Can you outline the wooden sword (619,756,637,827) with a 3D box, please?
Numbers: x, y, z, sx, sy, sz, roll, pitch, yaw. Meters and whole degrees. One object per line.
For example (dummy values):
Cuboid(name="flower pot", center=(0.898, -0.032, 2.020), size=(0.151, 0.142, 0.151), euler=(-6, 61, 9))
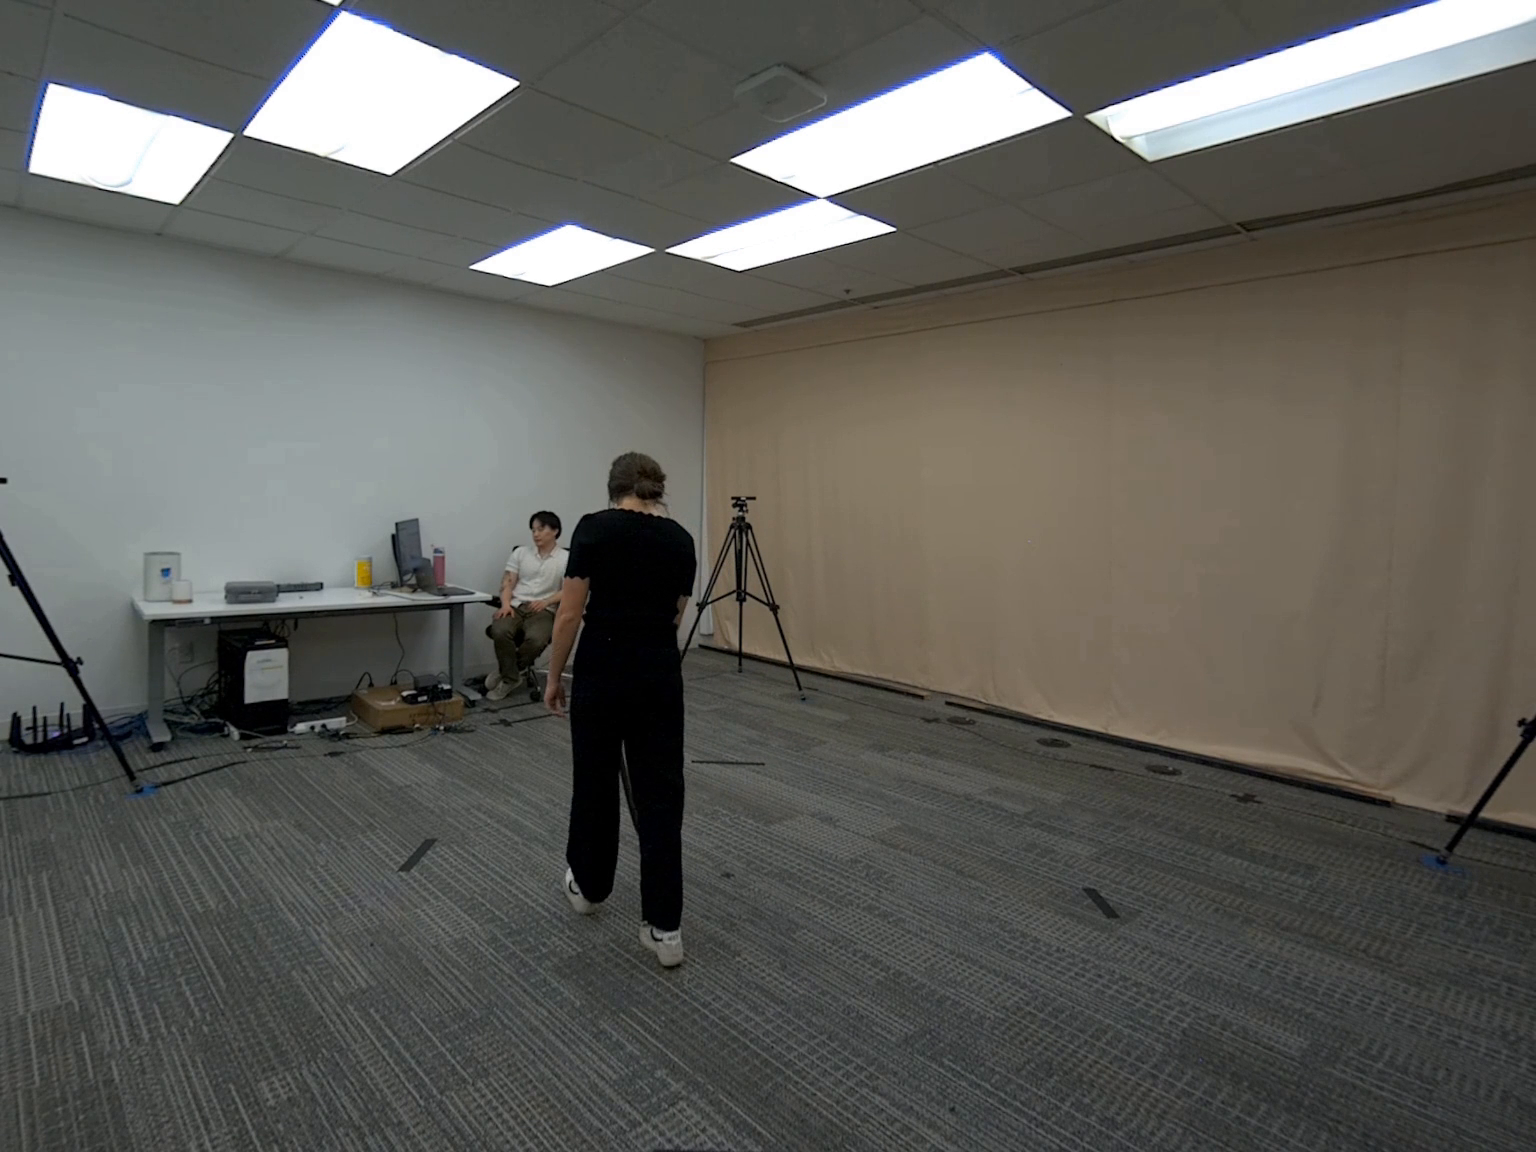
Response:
Cuboid(name="wooden sword", center=(-0.565, 0.694, 3.166), size=(0.024, 1.002, 0.053), euler=(-32, 50, -32))
